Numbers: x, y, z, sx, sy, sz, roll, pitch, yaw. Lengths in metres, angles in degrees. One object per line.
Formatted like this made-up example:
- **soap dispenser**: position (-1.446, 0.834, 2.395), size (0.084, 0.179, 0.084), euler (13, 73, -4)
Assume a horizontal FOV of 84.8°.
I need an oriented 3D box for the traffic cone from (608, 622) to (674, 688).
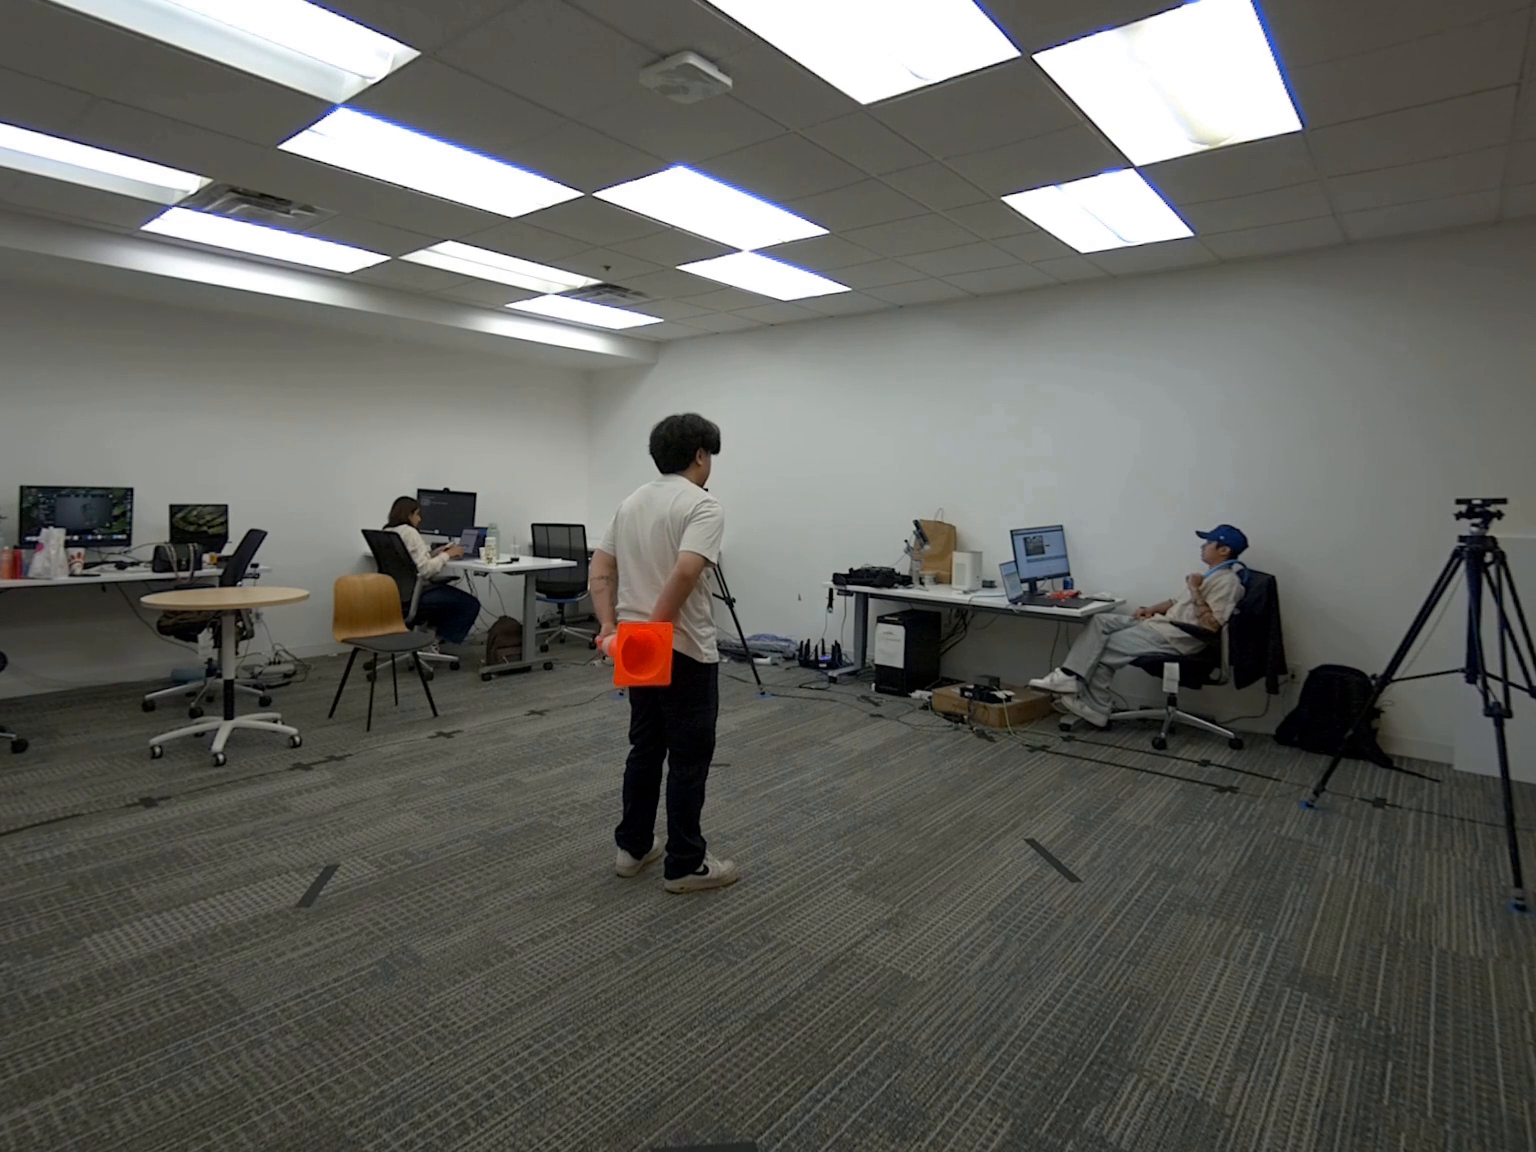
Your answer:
- **traffic cone**: position (-0.513, 0.240, 2.837), size (0.199, 0.204, 0.394), euler (4, -1, -31)
